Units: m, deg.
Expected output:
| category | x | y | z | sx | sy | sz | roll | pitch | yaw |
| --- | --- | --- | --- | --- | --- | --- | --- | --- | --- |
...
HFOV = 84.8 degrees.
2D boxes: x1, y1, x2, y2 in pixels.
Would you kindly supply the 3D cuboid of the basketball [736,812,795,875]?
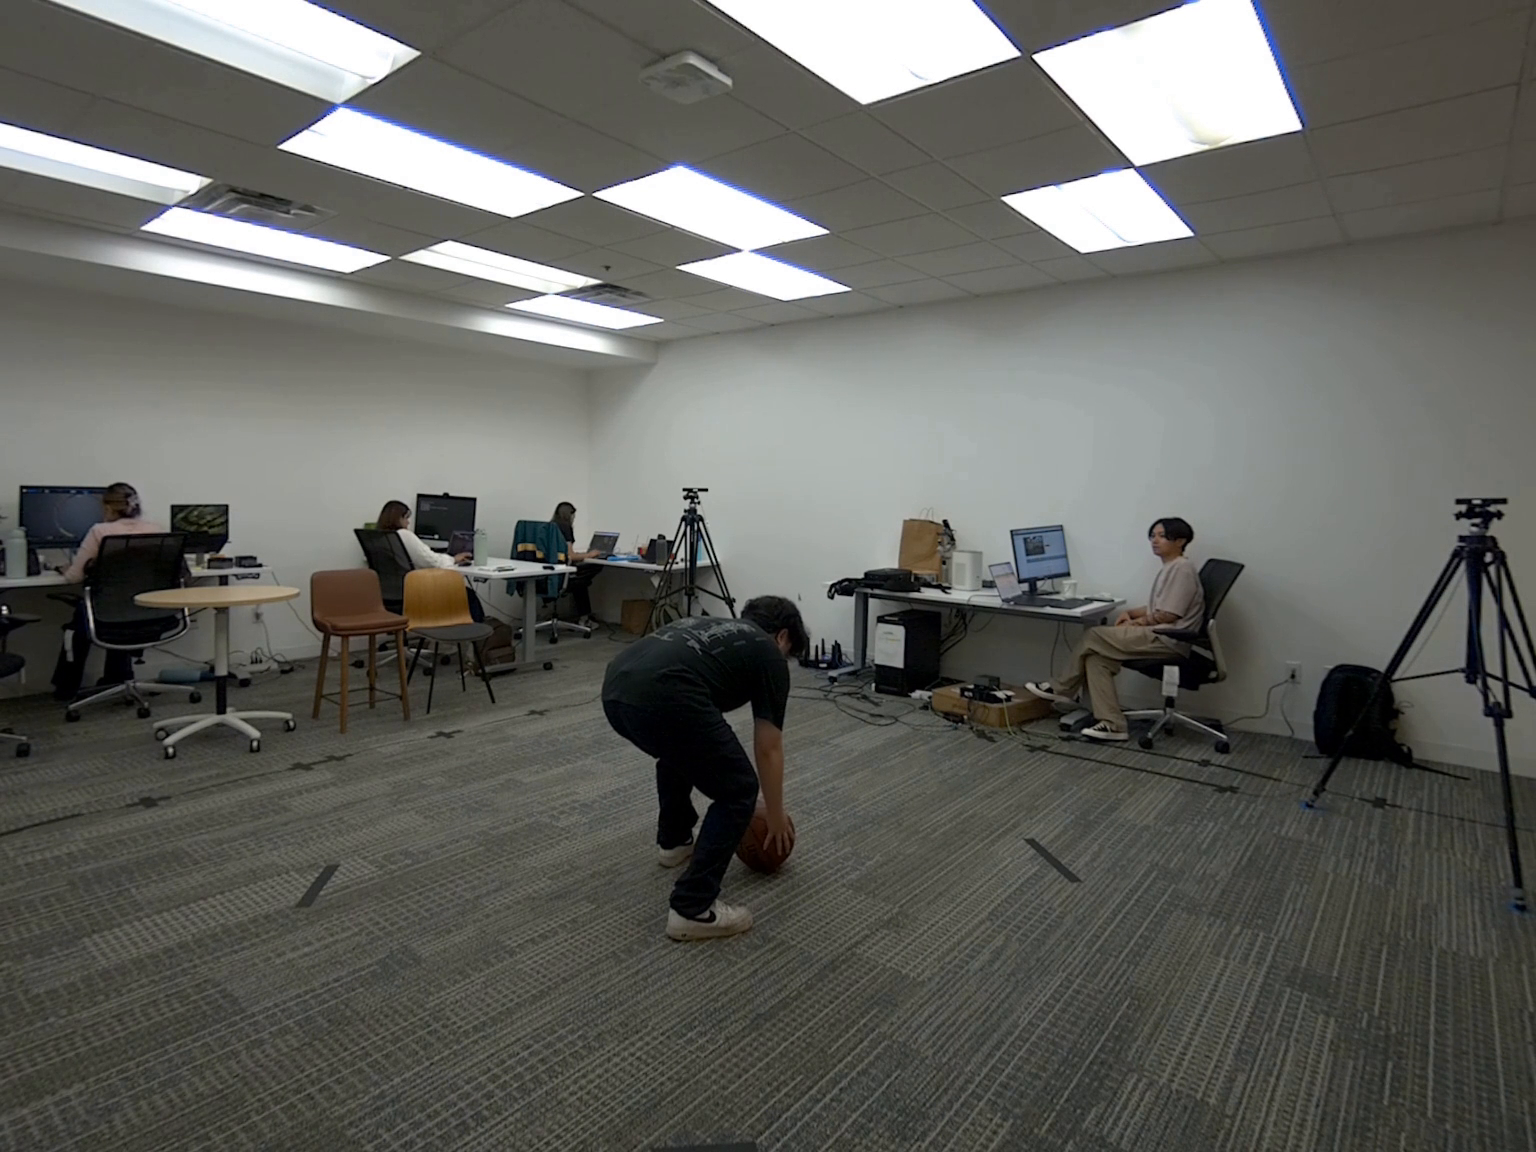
| category | x | y | z | sx | sy | sz | roll | pitch | yaw |
| --- | --- | --- | --- | --- | --- | --- | --- | --- | --- |
| basketball | -0.022 | 0.952 | 3.130 | 0.235 | 0.235 | 0.237 | 1 | 4 | -2 |
